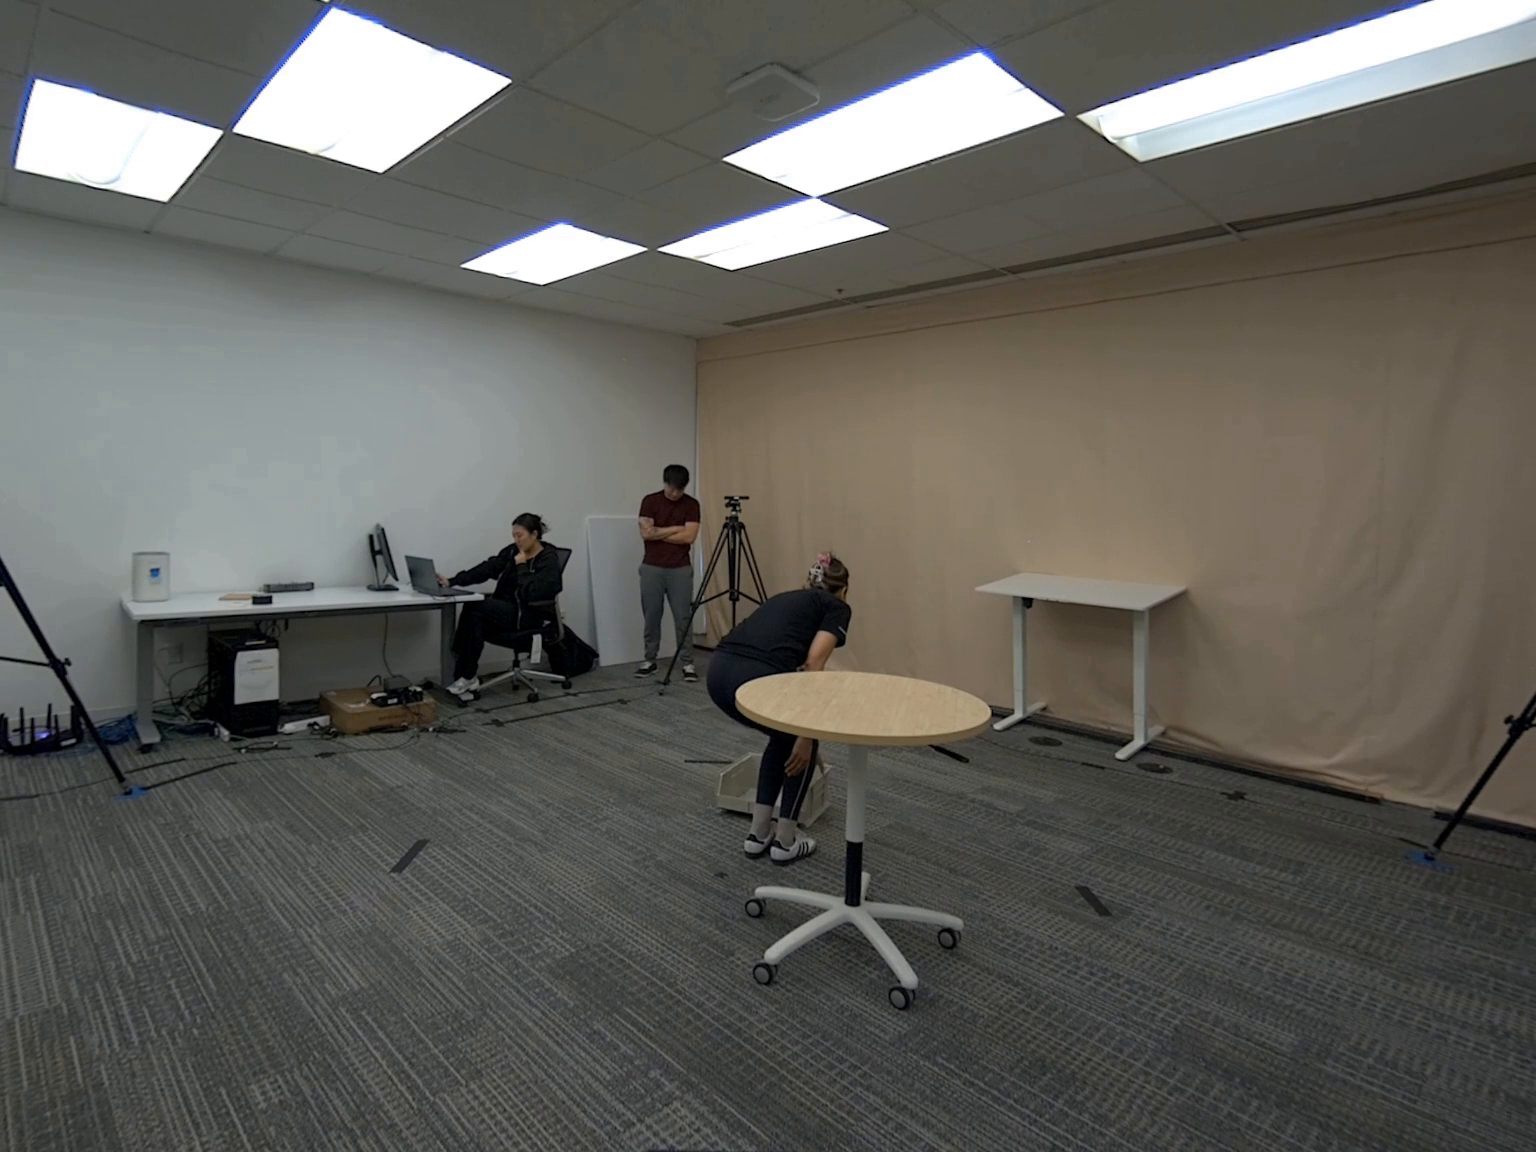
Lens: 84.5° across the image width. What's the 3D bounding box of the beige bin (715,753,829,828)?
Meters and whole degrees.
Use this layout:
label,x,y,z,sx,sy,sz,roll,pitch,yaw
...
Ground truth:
label,x,y,z,sx,sy,sz,roll,pitch,yaw
beige bin,0.024,0.956,3.779,0.430,0.188,0.371,4,4,24
